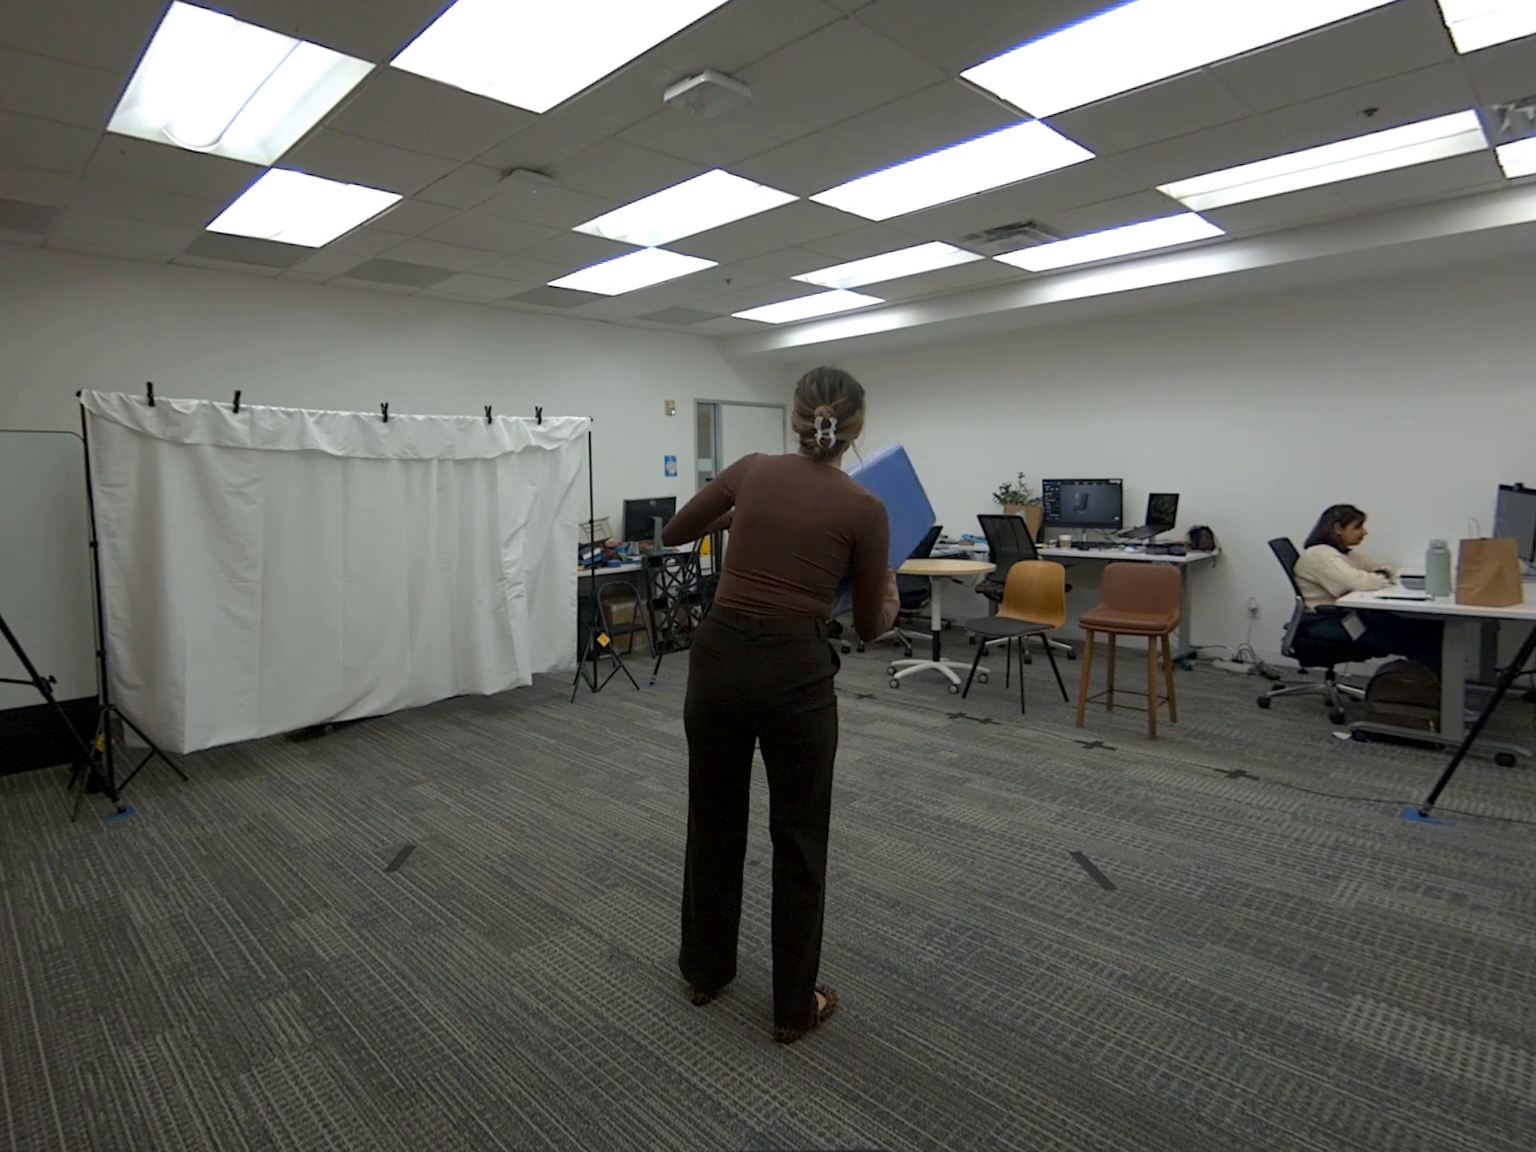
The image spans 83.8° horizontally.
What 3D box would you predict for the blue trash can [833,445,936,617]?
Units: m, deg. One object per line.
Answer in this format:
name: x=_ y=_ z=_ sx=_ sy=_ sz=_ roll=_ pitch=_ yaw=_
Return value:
blue trash can: x=0.246 y=-0.152 z=2.696 sx=0.384 sy=0.371 sz=0.709 roll=-22 pitch=9 yaw=32
